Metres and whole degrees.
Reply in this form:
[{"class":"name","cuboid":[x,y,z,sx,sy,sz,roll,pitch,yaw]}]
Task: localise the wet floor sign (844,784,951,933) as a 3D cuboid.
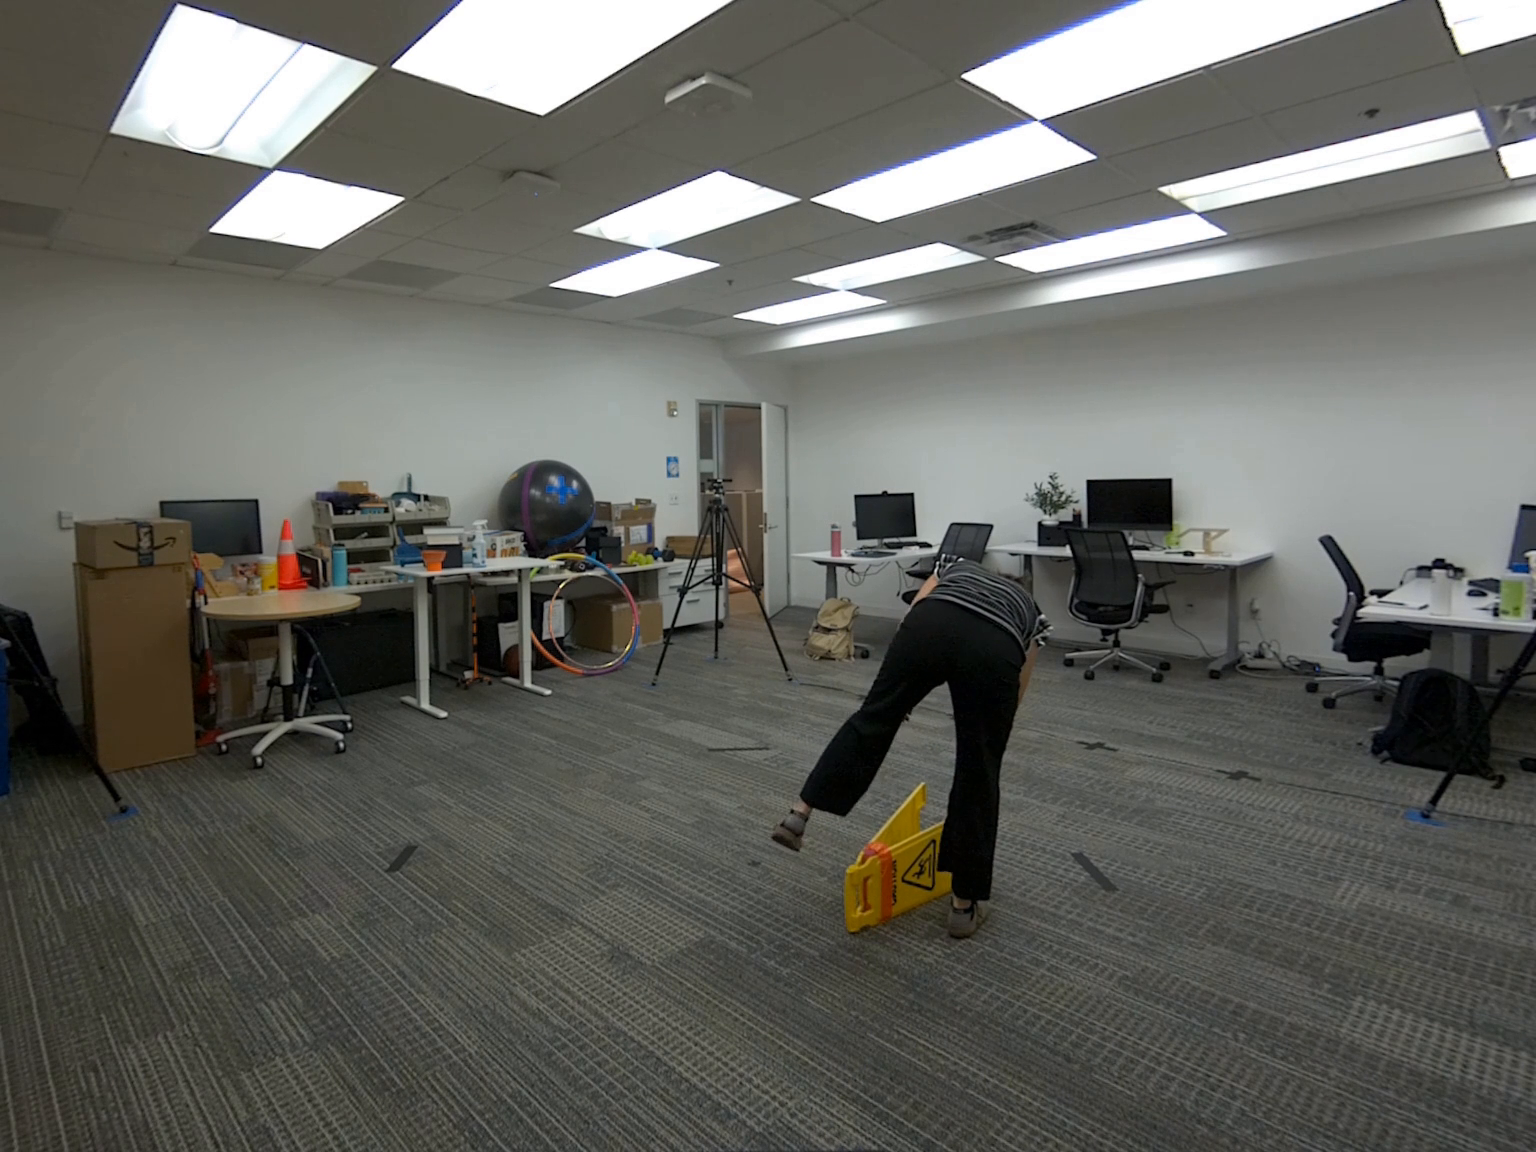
[{"class":"wet floor sign","cuboid":[0.465,0.946,2.818,0.299,0.280,0.631,5,12,42]}]
